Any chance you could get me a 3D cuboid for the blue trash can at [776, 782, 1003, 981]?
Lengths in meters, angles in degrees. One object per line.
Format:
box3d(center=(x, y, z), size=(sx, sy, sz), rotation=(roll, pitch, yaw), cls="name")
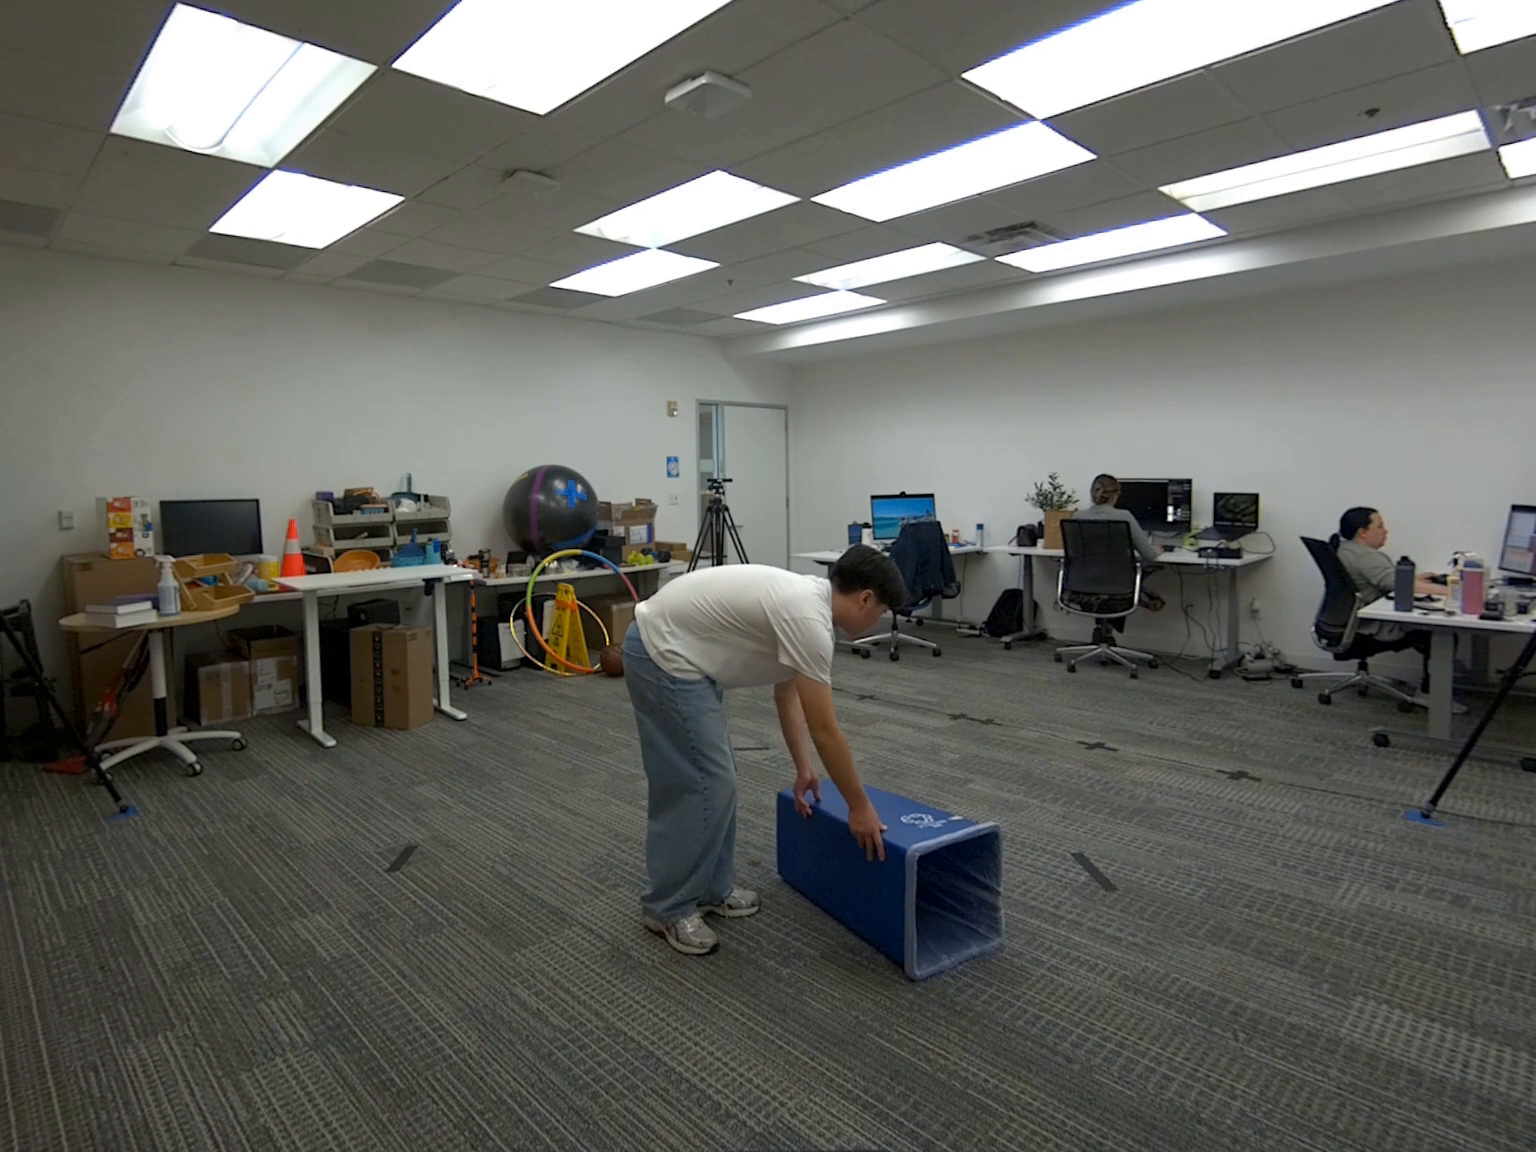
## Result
box3d(center=(0.351, 0.911, 2.747), size=(0.365, 0.377, 0.733), rotation=(-3, 3, -33), cls="blue trash can")
